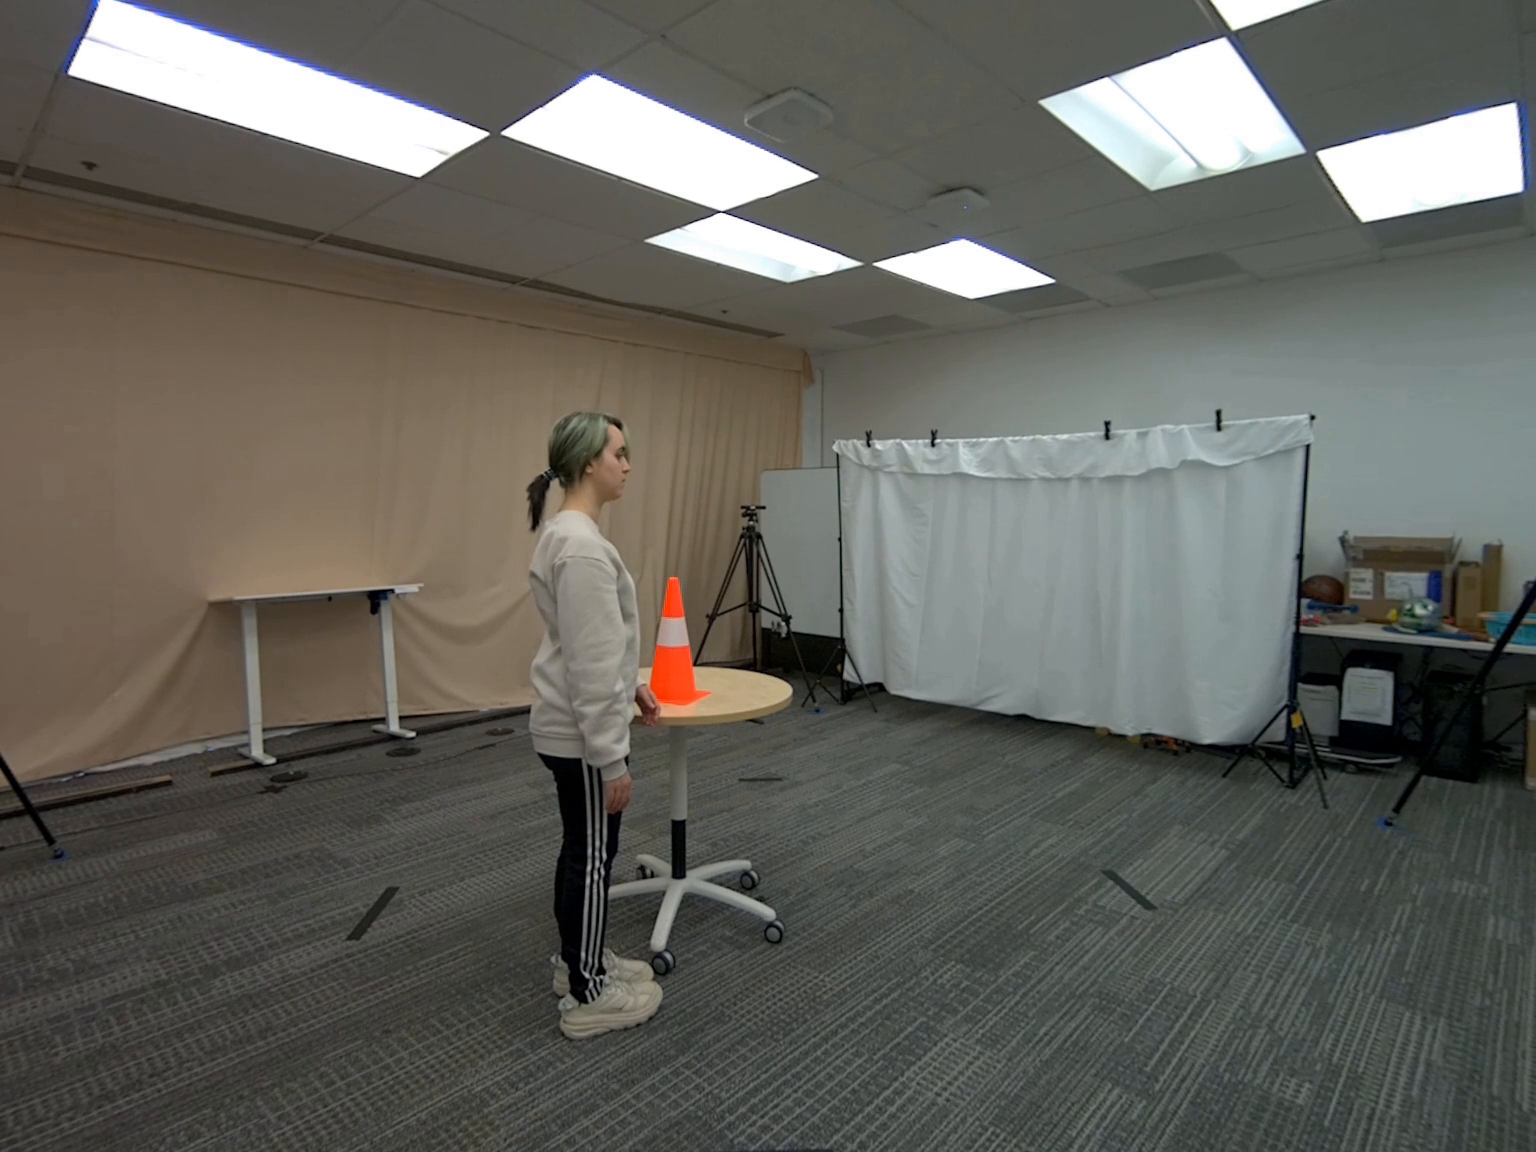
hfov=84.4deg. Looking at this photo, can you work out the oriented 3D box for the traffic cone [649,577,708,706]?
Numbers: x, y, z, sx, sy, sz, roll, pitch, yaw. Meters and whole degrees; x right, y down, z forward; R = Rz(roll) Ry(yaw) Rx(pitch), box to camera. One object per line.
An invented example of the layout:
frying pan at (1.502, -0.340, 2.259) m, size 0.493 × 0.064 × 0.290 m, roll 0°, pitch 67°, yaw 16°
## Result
traffic cone at (-0.302, 0.198, 2.688) m, size 0.197 × 0.382 × 0.212 m, roll -3°, pitch 6°, yaw -38°
